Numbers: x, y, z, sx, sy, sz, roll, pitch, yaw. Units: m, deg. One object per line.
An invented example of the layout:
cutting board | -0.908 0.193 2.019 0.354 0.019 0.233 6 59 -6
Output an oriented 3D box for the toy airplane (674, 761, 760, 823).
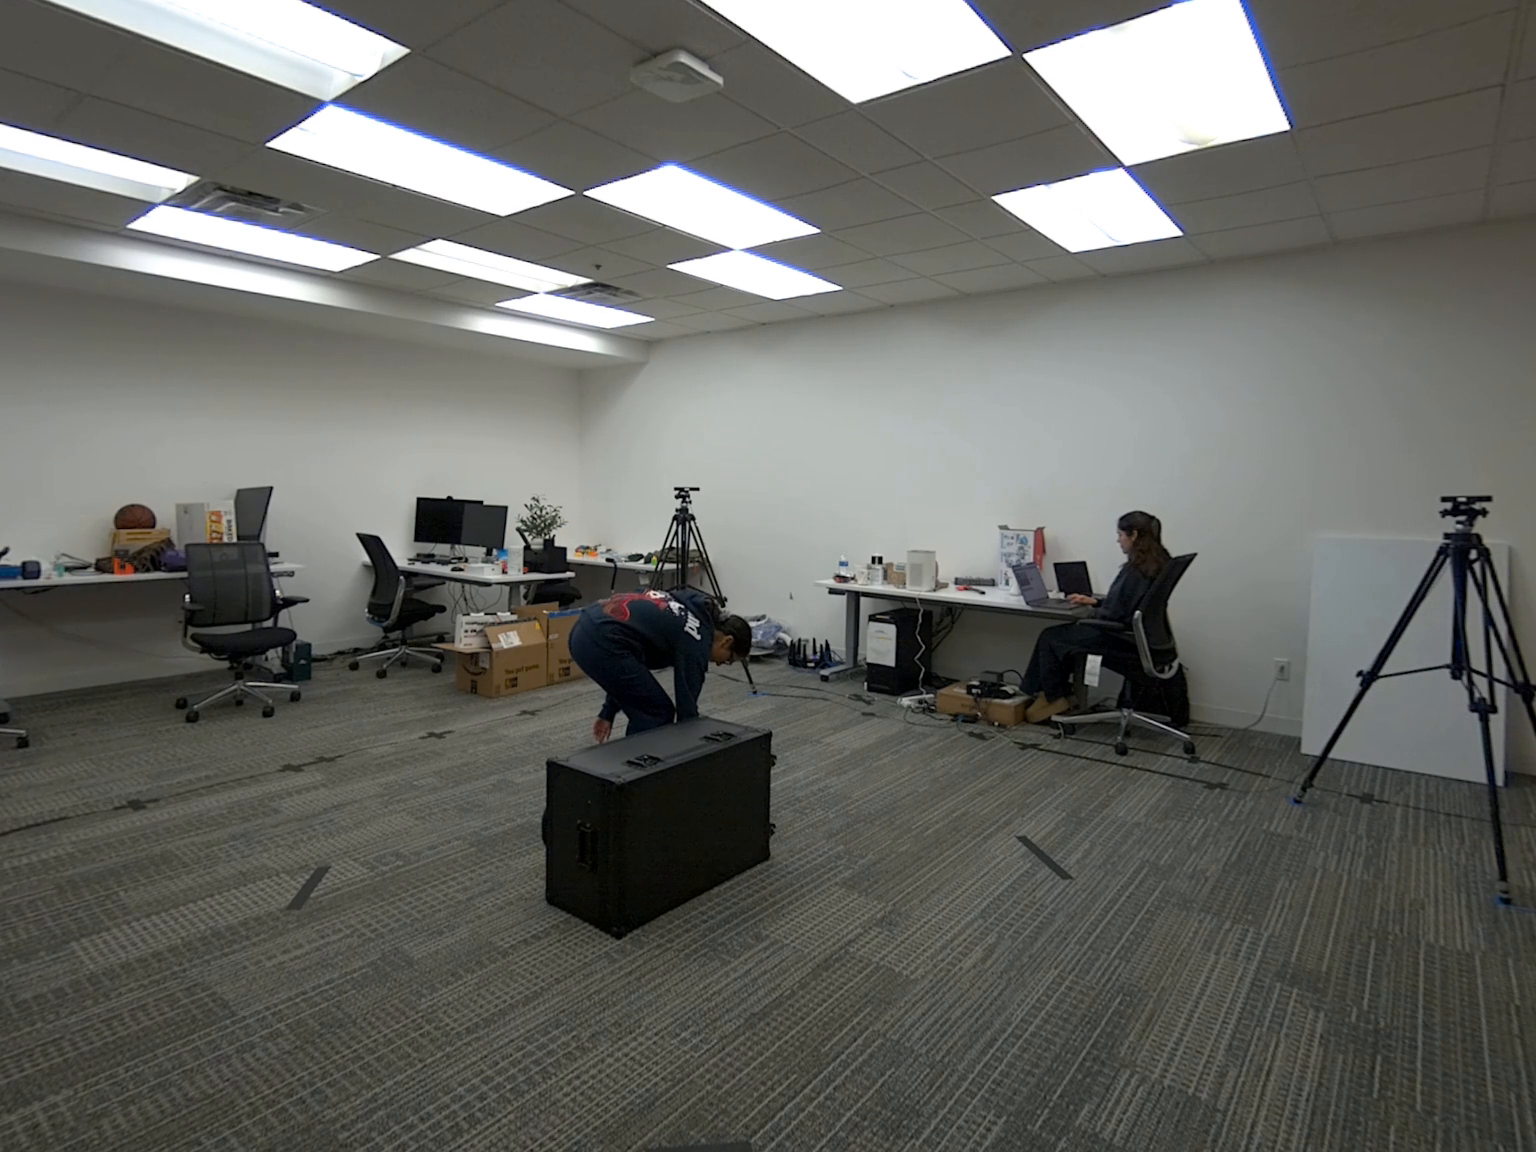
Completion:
toy airplane | -0.227 0.927 3.648 0.251 0.156 0.260 5 6 -32
